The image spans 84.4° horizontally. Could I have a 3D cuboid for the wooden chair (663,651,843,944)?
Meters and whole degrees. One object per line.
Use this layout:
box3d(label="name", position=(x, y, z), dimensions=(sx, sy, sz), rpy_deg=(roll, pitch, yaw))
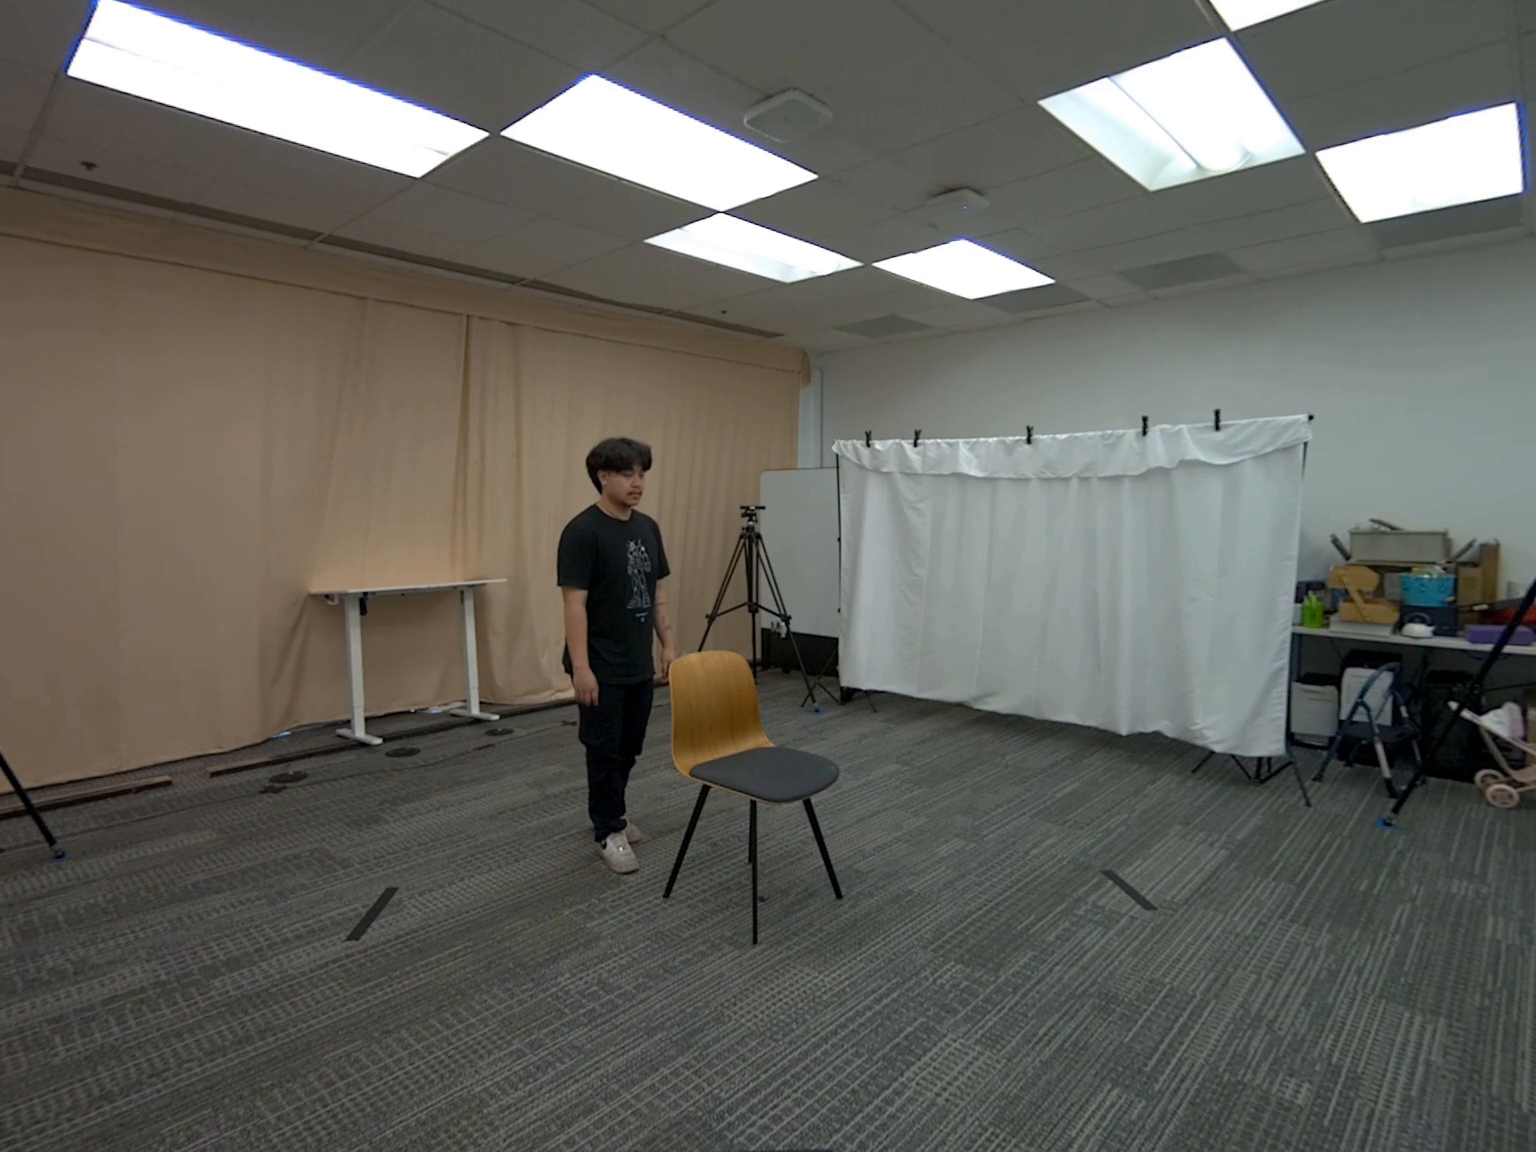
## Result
box3d(label="wooden chair", position=(-0.044, 0.723, 2.950), dimensions=(0.539, 0.877, 0.463), rpy_deg=(-3, 0, 44))
